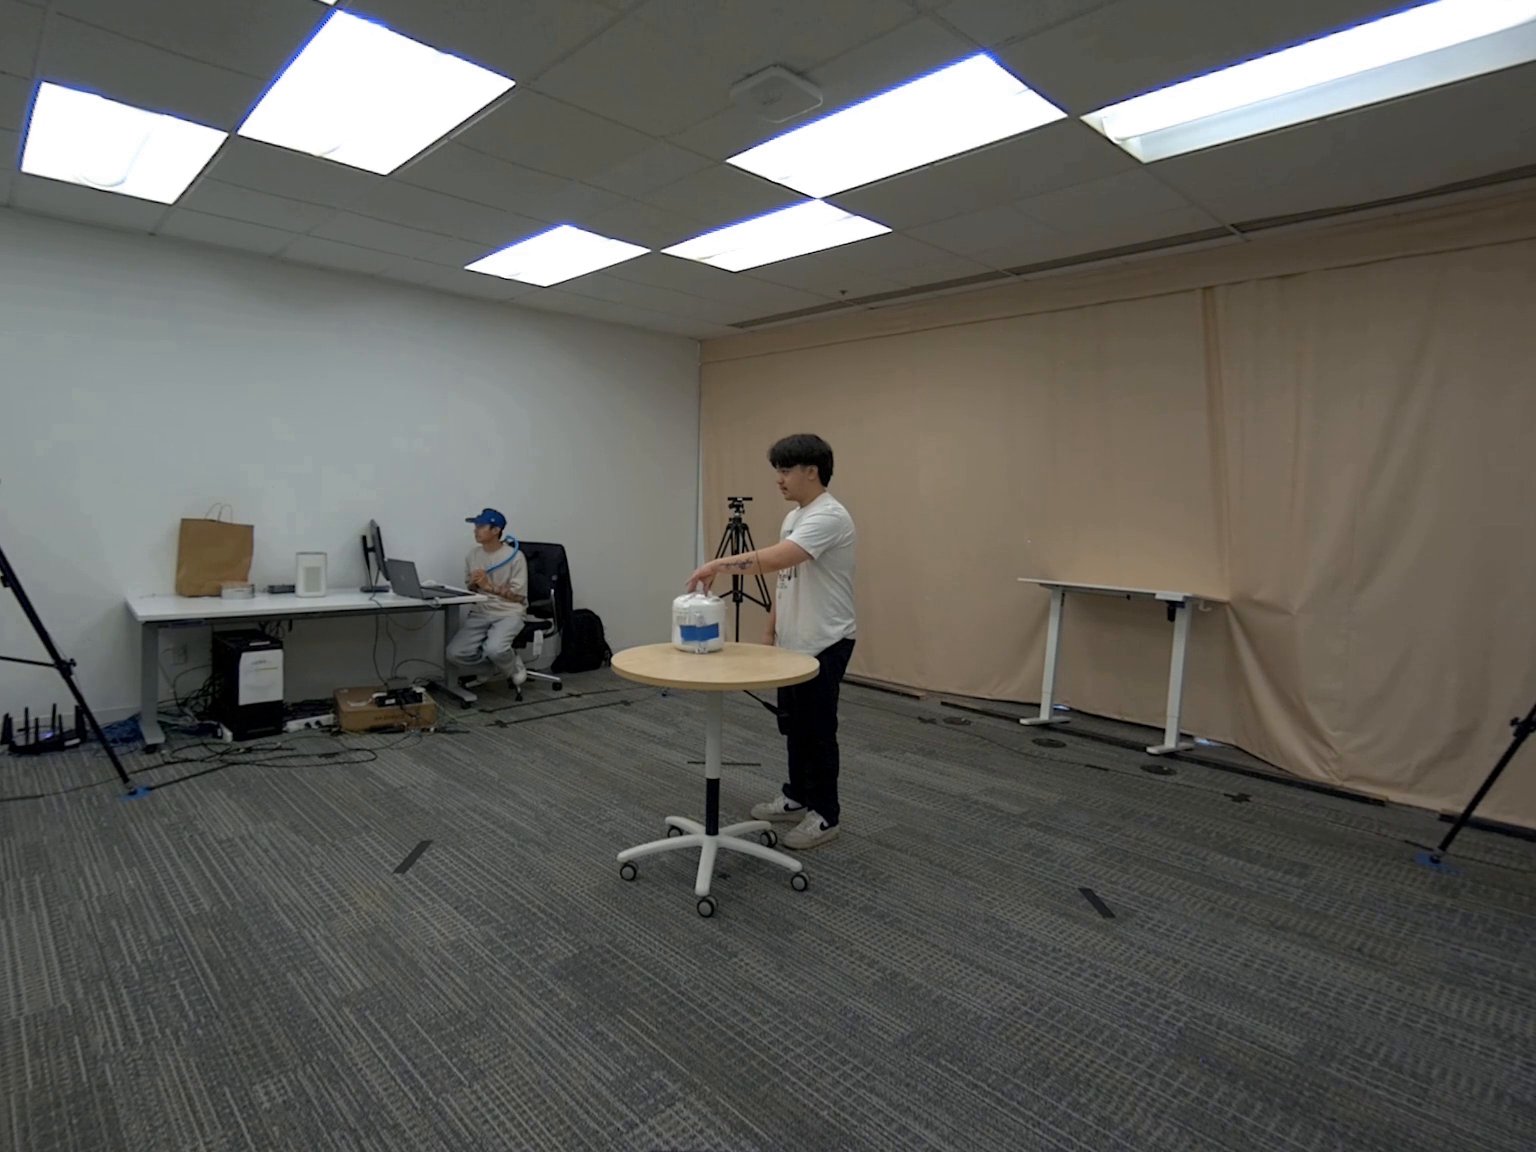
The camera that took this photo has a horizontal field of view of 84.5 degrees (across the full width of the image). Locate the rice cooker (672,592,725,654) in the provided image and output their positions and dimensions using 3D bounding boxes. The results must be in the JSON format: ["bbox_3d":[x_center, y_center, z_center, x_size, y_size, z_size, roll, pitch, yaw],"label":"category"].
[{"bbox_3d":[-0.282,0.174,3.300,0.223,0.232,0.216,5,6,37],"label":"rice cooker"}]
